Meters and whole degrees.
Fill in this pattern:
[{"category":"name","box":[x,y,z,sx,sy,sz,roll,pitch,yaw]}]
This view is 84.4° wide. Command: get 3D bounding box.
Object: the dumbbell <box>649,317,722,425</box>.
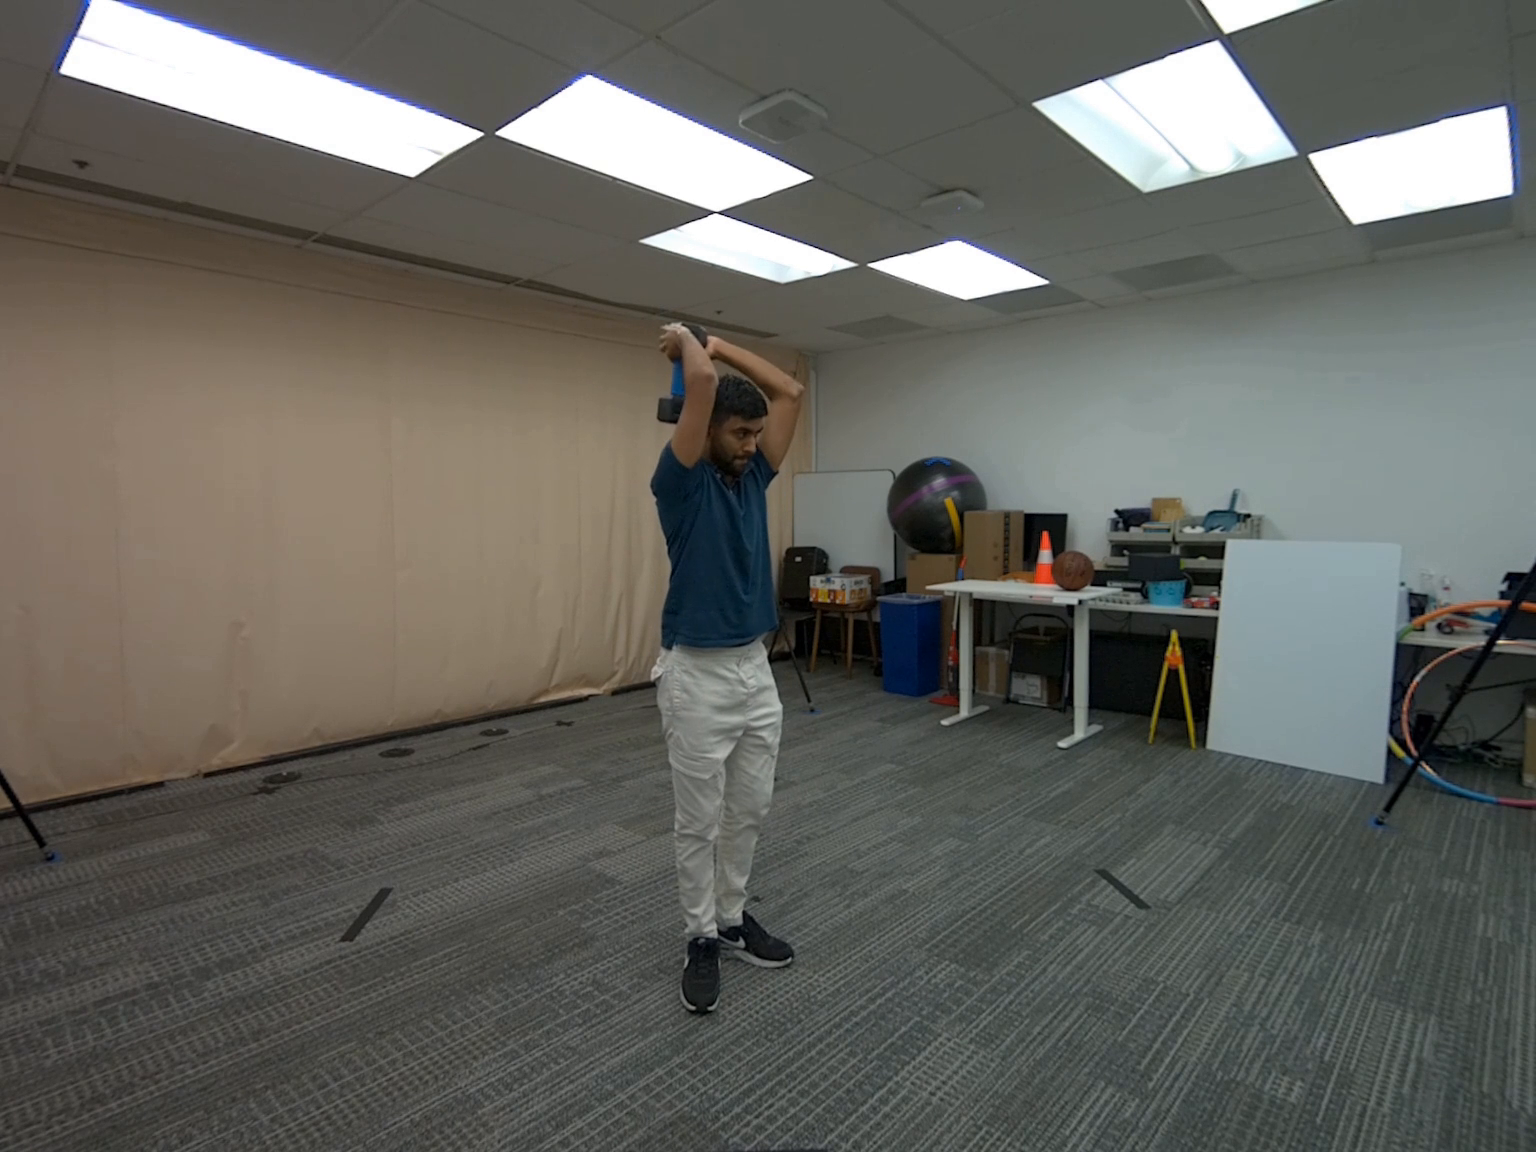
[{"category":"dumbbell","box":[-0.246,-0.597,2.493,0.105,0.292,0.127,0,16,-46]}]
